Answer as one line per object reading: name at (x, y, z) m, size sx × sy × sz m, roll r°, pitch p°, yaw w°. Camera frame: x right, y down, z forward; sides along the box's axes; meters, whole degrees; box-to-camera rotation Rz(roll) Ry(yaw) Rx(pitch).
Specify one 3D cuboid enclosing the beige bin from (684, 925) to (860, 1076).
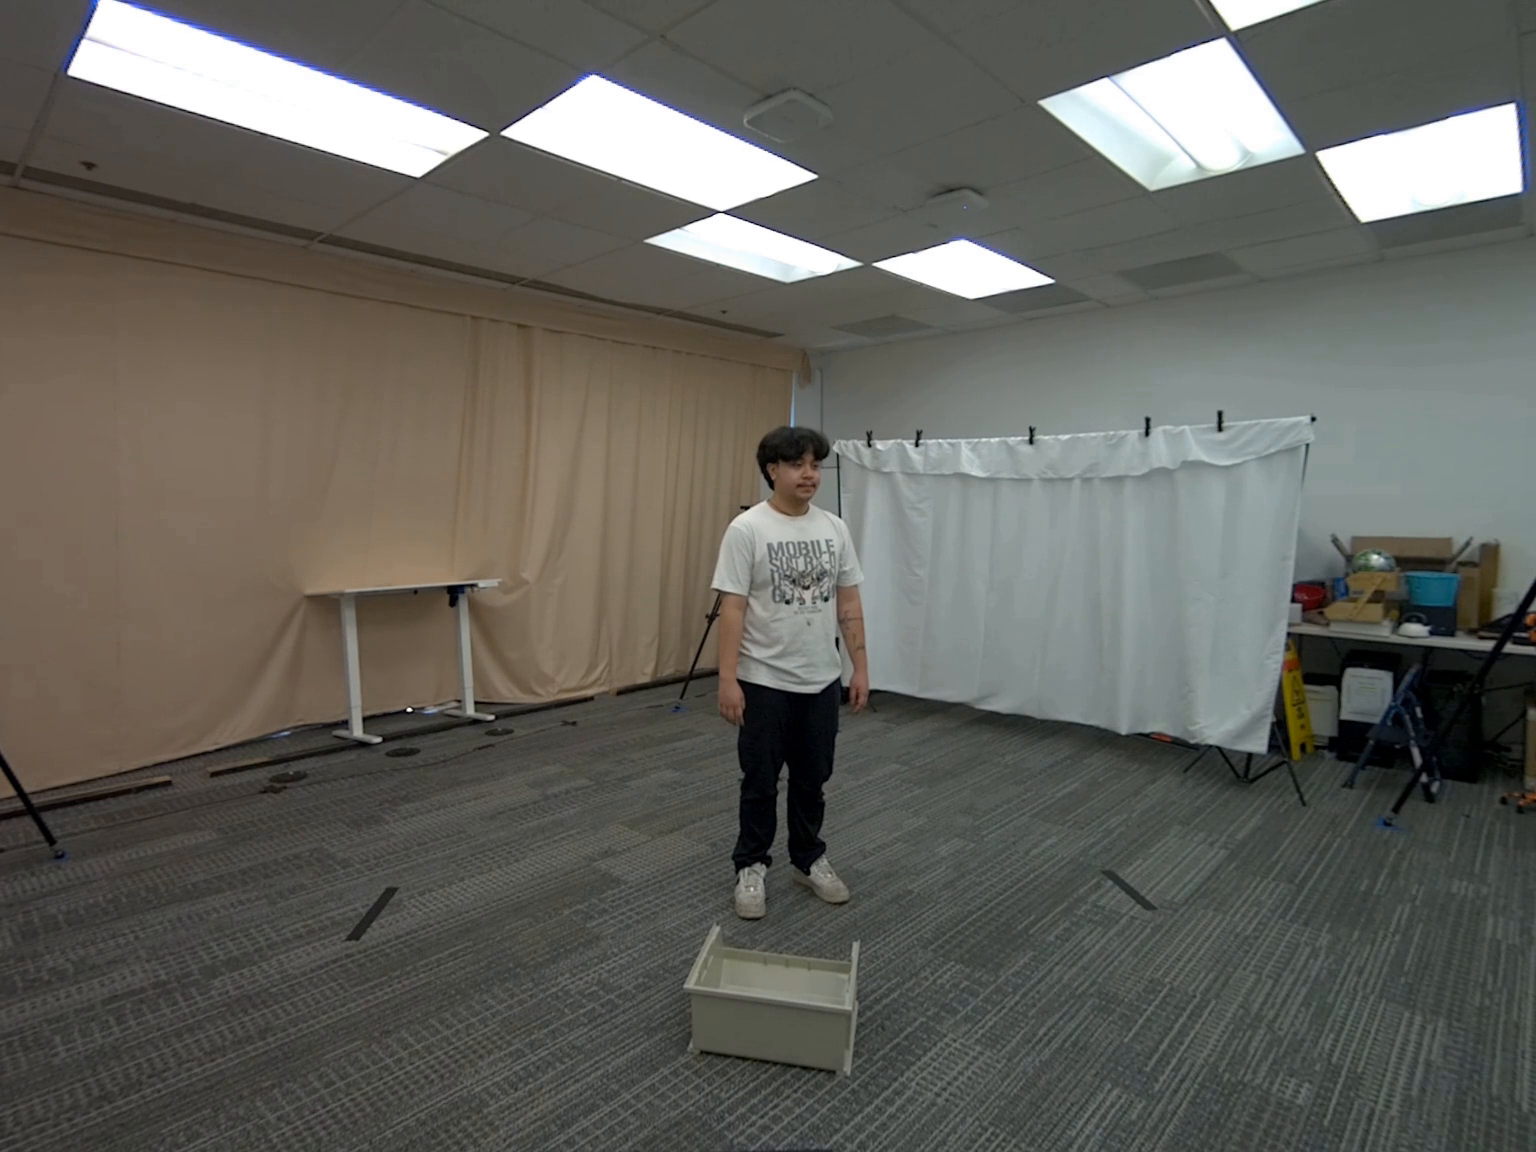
beige bin at (0.026, 1.117, 2.259) m, size 0.428 × 0.188 × 0.373 m, roll 2°, pitch 5°, yaw 11°
